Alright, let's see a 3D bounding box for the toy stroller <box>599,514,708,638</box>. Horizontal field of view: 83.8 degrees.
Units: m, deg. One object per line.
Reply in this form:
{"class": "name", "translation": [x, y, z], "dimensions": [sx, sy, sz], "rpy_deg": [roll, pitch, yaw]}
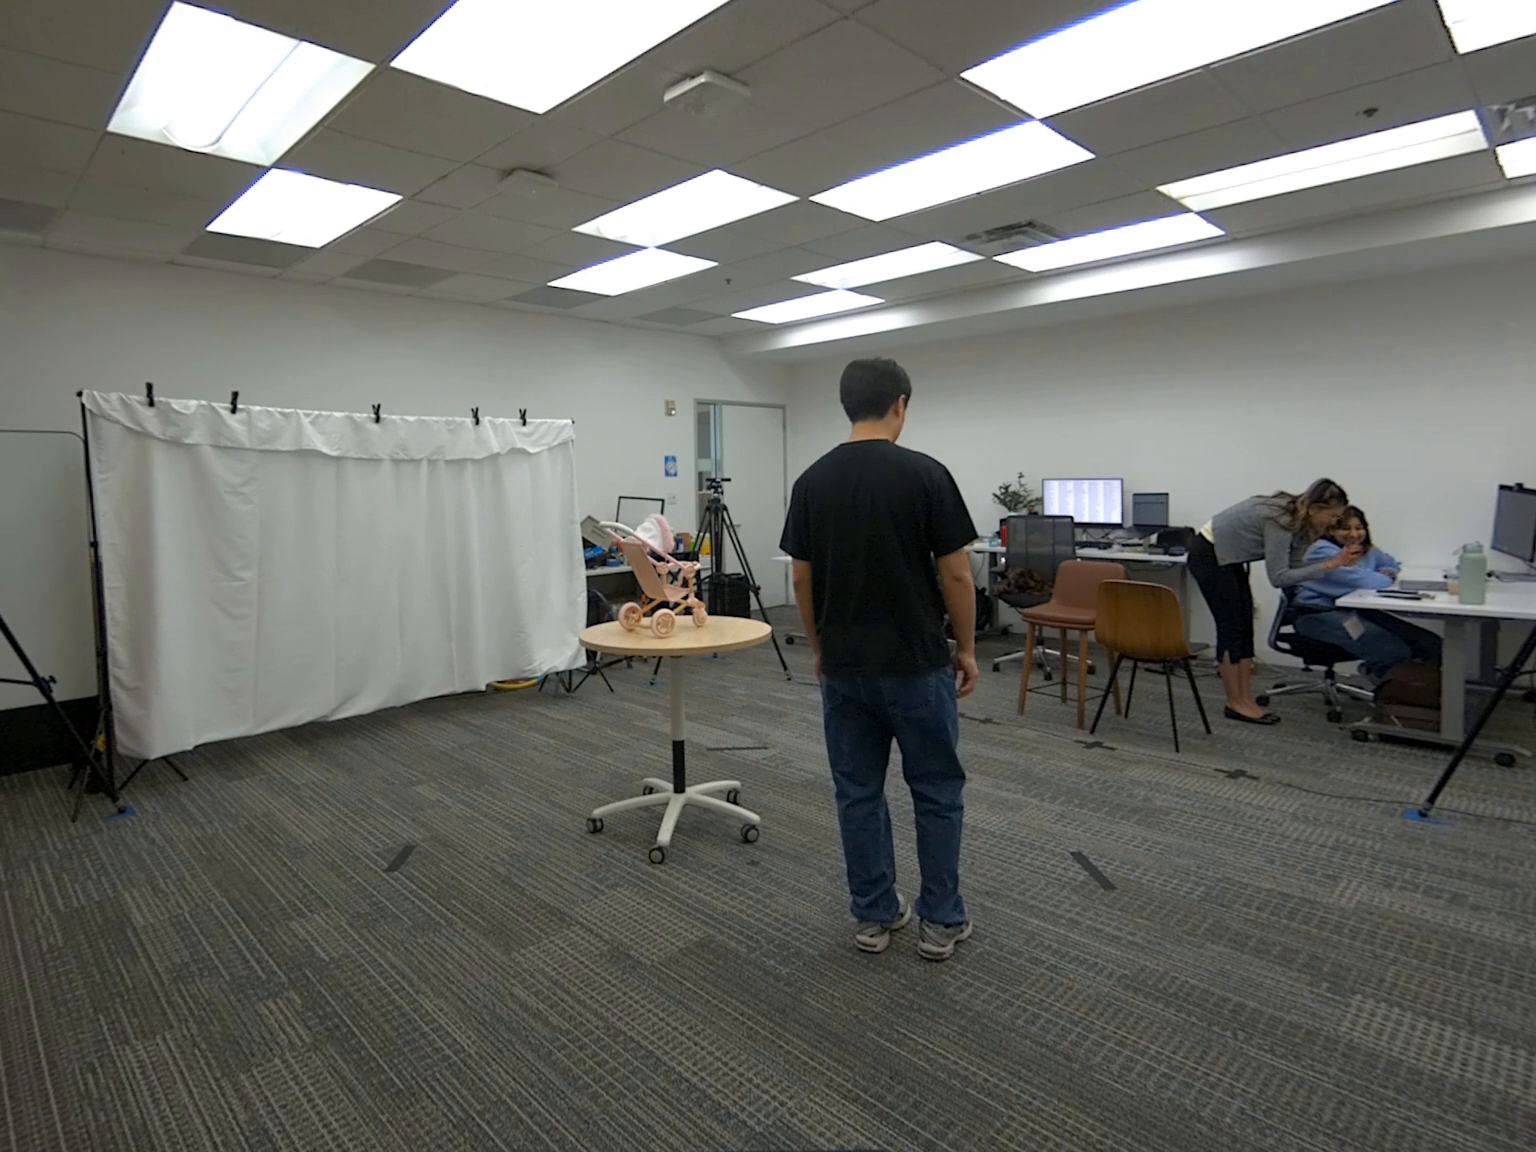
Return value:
{"class": "toy stroller", "translation": [-0.423, -0.002, 3.367], "dimensions": [0.336, 0.529, 0.289], "rpy_deg": [-20, 13, -31]}
